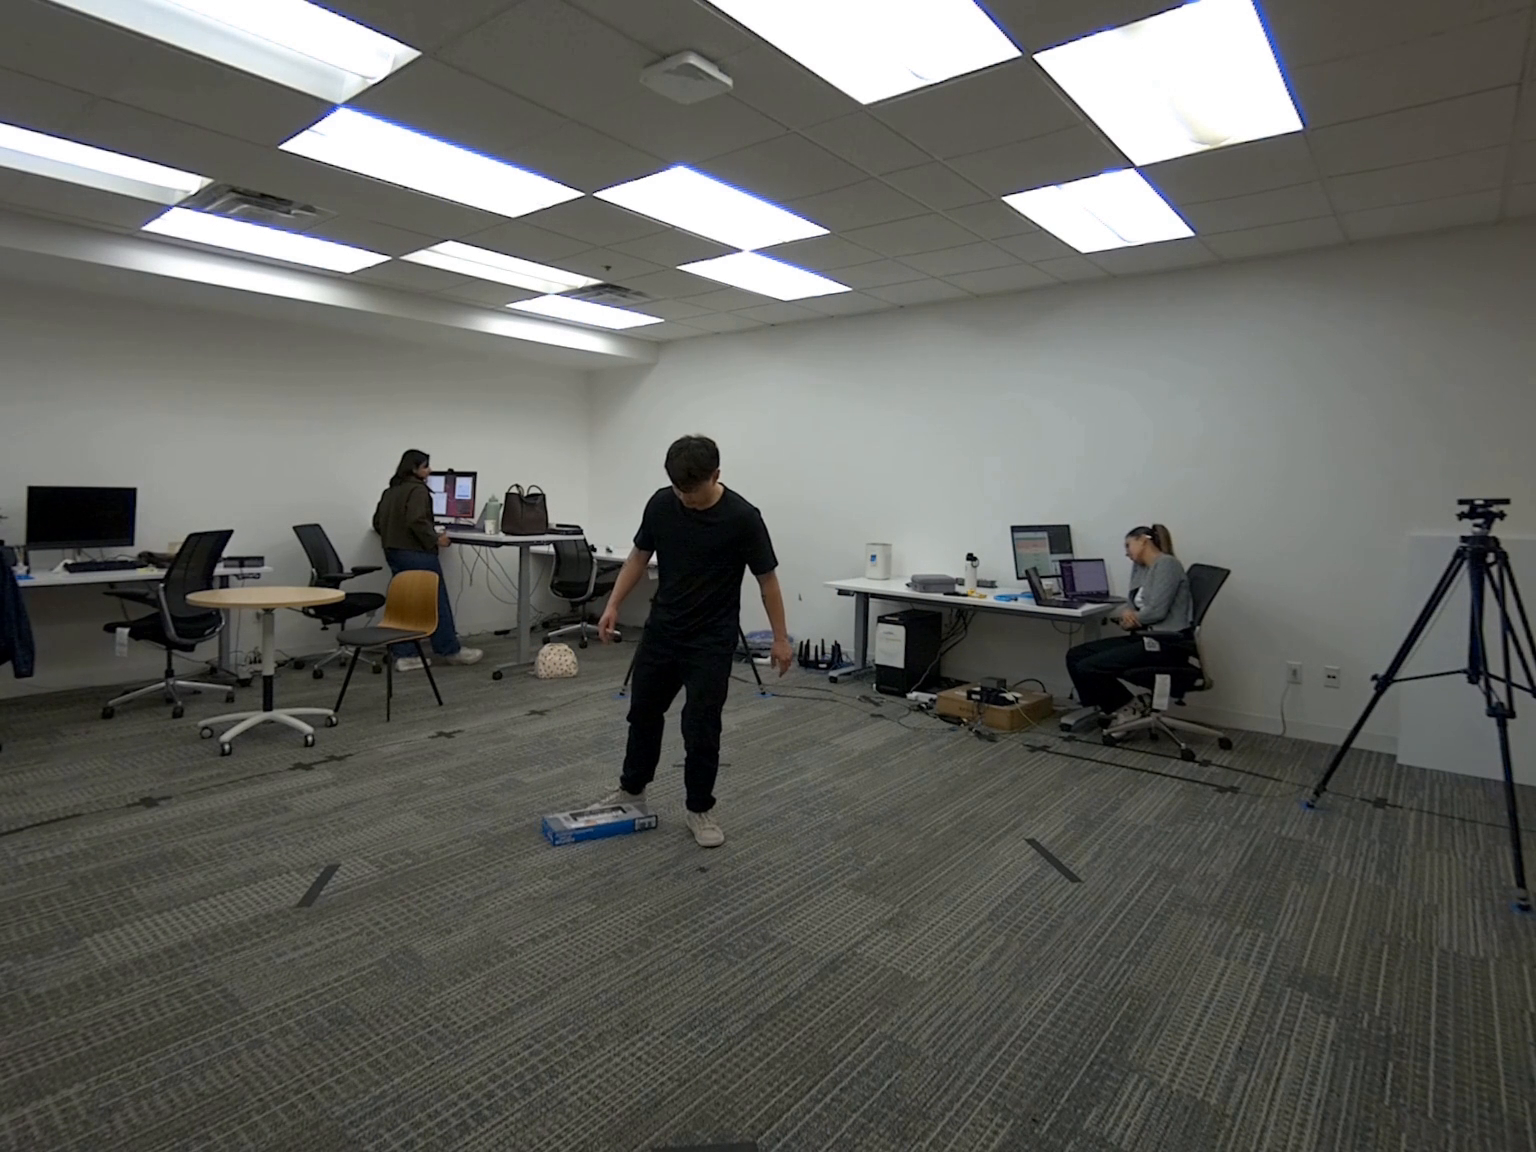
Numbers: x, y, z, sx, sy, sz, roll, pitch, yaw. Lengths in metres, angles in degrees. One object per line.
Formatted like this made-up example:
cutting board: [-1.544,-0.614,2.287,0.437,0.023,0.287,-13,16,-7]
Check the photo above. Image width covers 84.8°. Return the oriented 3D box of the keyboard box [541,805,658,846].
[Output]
keyboard box: [-0.695,0.998,3.450,0.426,0.059,0.181,-2,6,-28]
